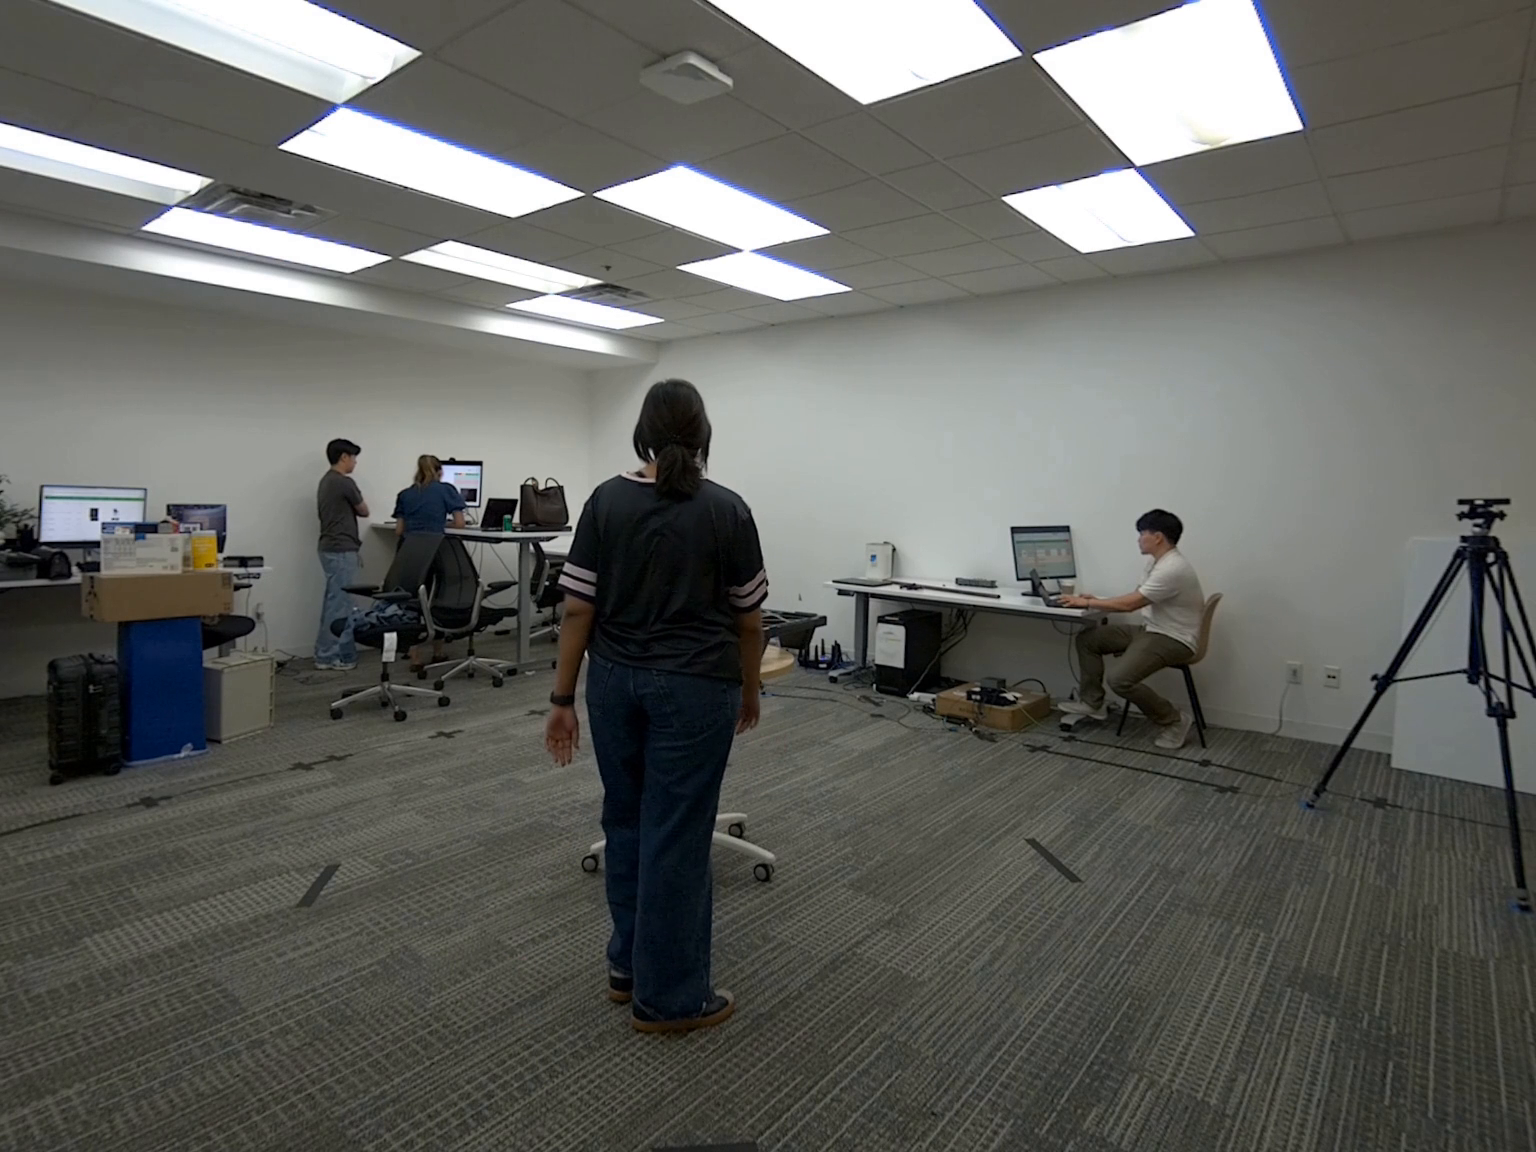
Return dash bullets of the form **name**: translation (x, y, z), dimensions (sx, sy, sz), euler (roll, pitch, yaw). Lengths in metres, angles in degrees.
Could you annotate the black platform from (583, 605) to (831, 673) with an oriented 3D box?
- **black platform**: translation (-0.233, 0.222, 3.120), dimensions (0.625, 0.142, 0.784), euler (6, 8, 34)
